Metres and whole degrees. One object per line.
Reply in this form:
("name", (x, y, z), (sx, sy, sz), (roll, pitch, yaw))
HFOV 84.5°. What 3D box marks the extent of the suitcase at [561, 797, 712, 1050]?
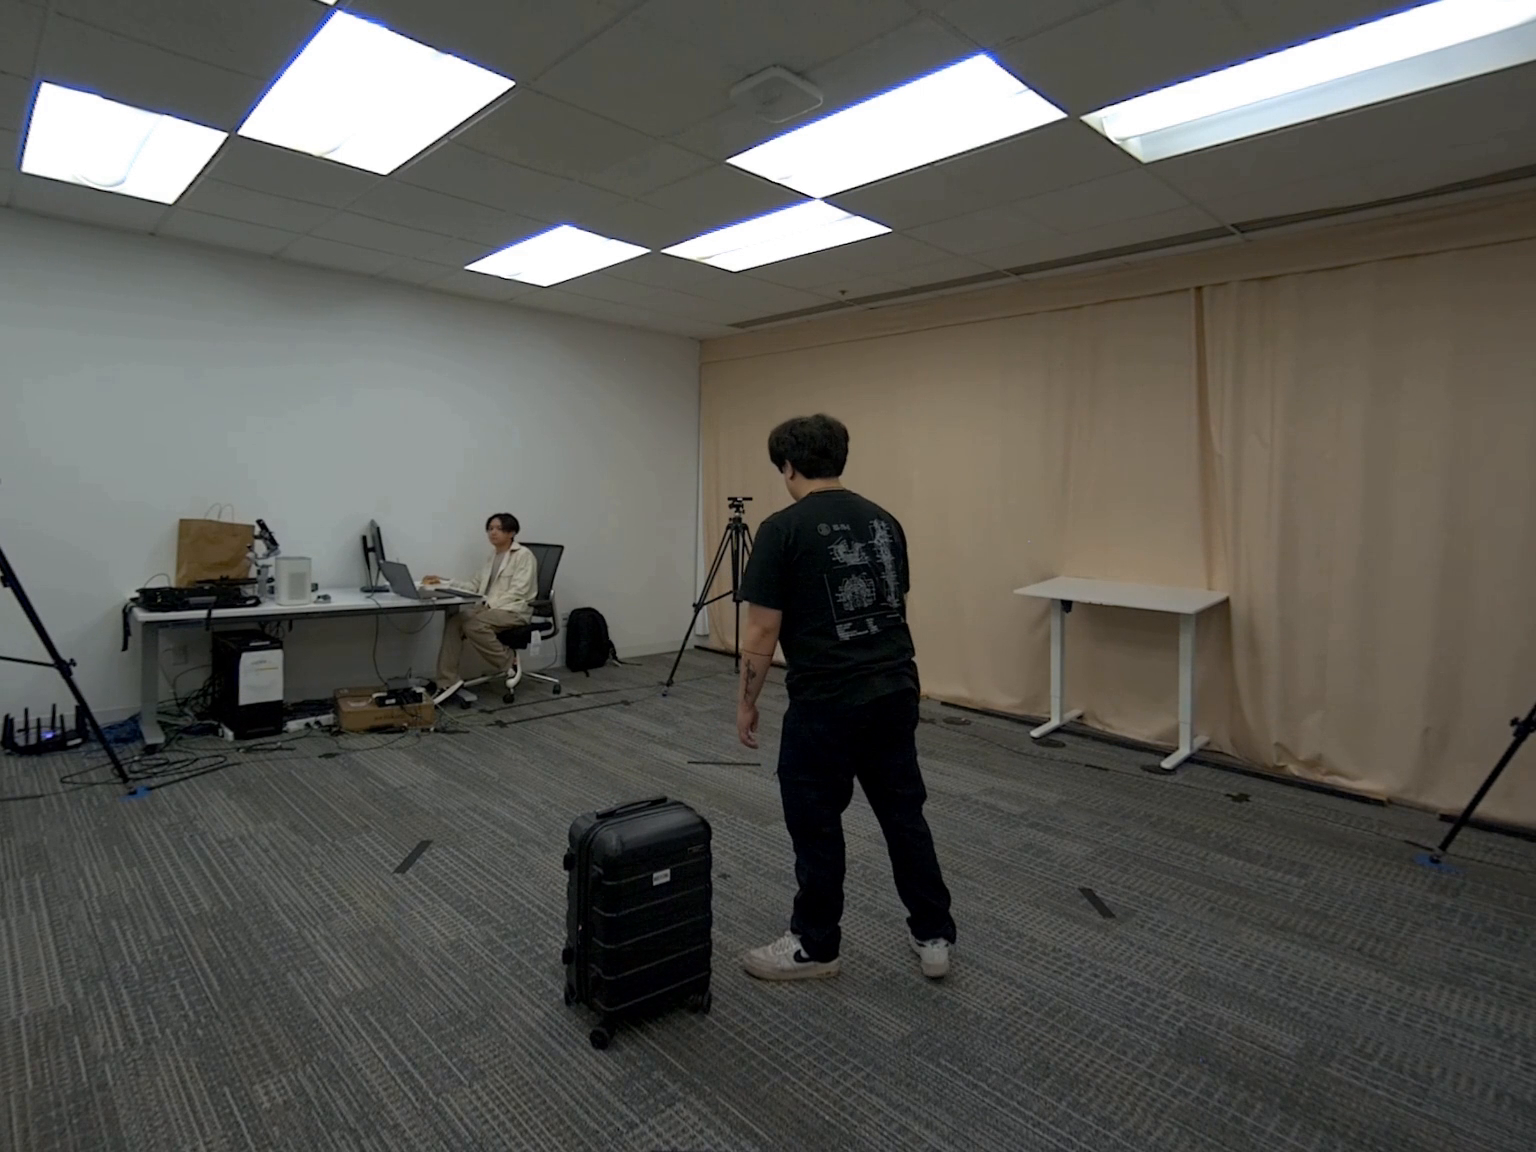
("suitcase", (-0.349, 0.906, 2.275), (0.367, 0.548, 0.254), (-1, 4, -37))
